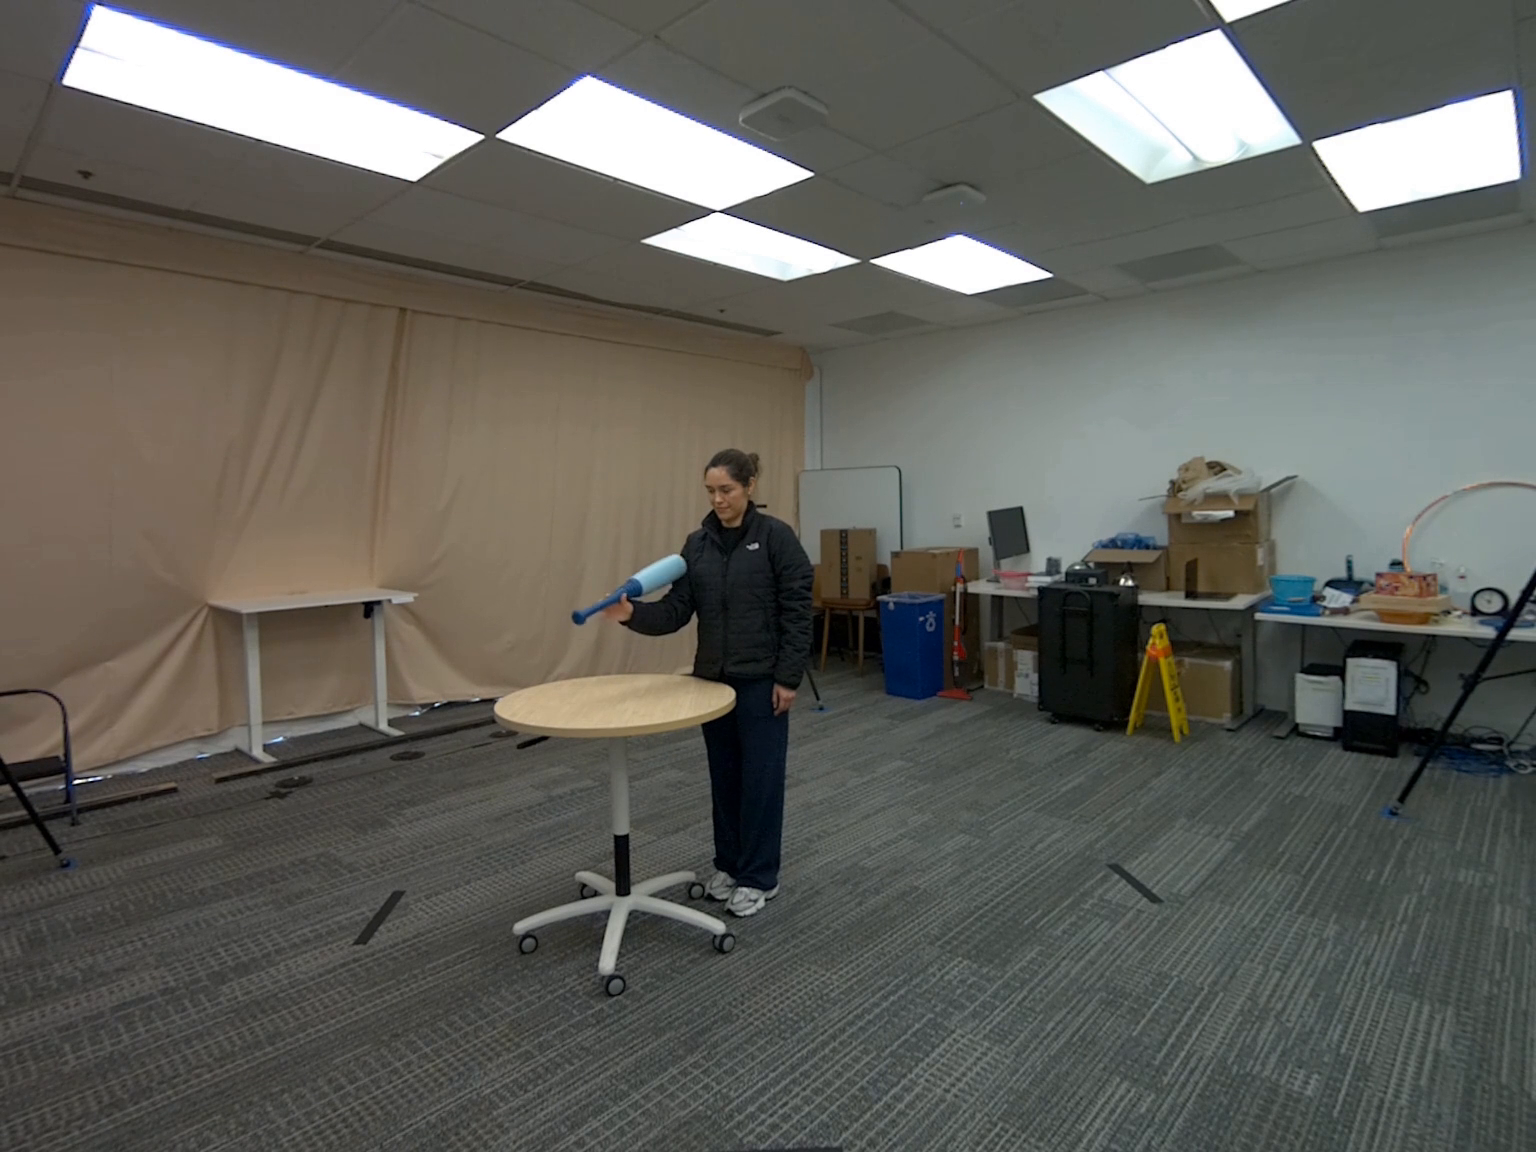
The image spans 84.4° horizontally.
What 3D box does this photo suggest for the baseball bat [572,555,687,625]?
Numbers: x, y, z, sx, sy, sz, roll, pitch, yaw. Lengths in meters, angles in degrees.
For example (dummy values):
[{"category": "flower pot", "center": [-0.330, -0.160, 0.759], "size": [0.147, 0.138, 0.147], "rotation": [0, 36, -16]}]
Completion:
[{"category": "baseball bat", "center": [-0.454, 0.047, 2.782], "size": [0.092, 0.088, 0.533], "rotation": [2, 21, 34]}]
